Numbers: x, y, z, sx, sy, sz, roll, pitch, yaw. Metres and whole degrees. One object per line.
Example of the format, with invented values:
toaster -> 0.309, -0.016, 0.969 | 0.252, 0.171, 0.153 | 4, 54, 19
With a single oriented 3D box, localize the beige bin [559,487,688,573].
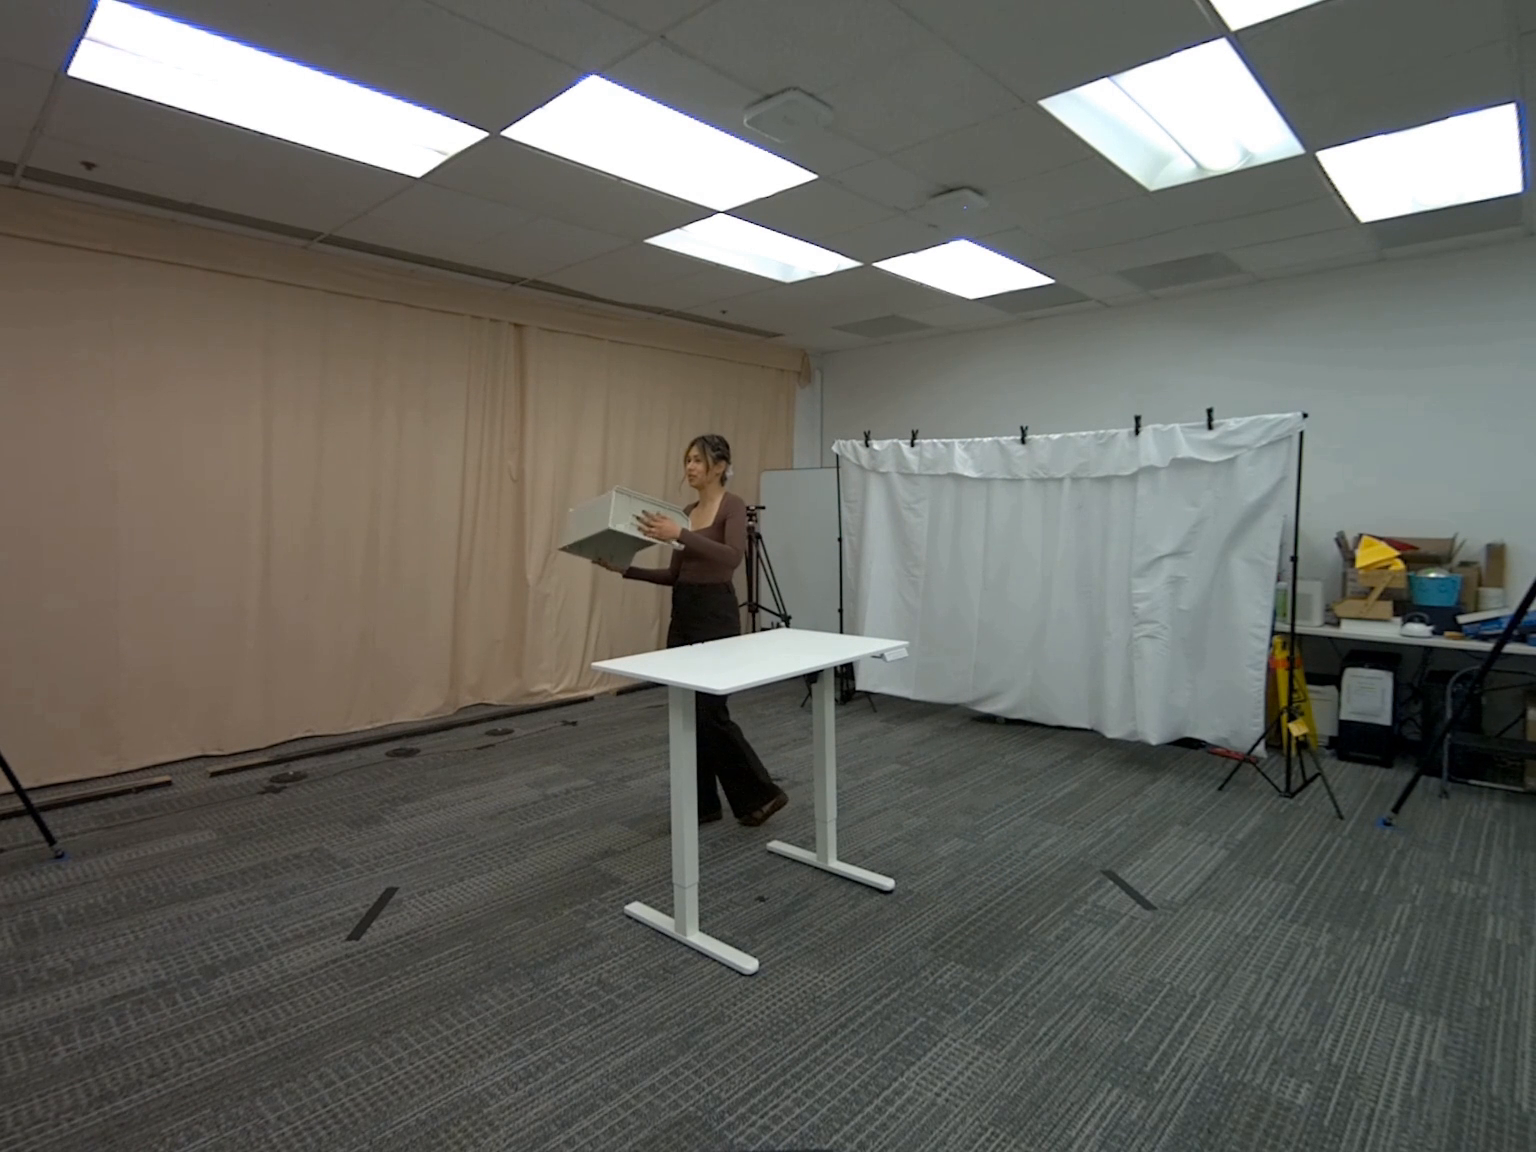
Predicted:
beige bin -> -0.587, -0.181, 3.474 | 0.365, 0.191, 0.433 | 20, -22, -35
